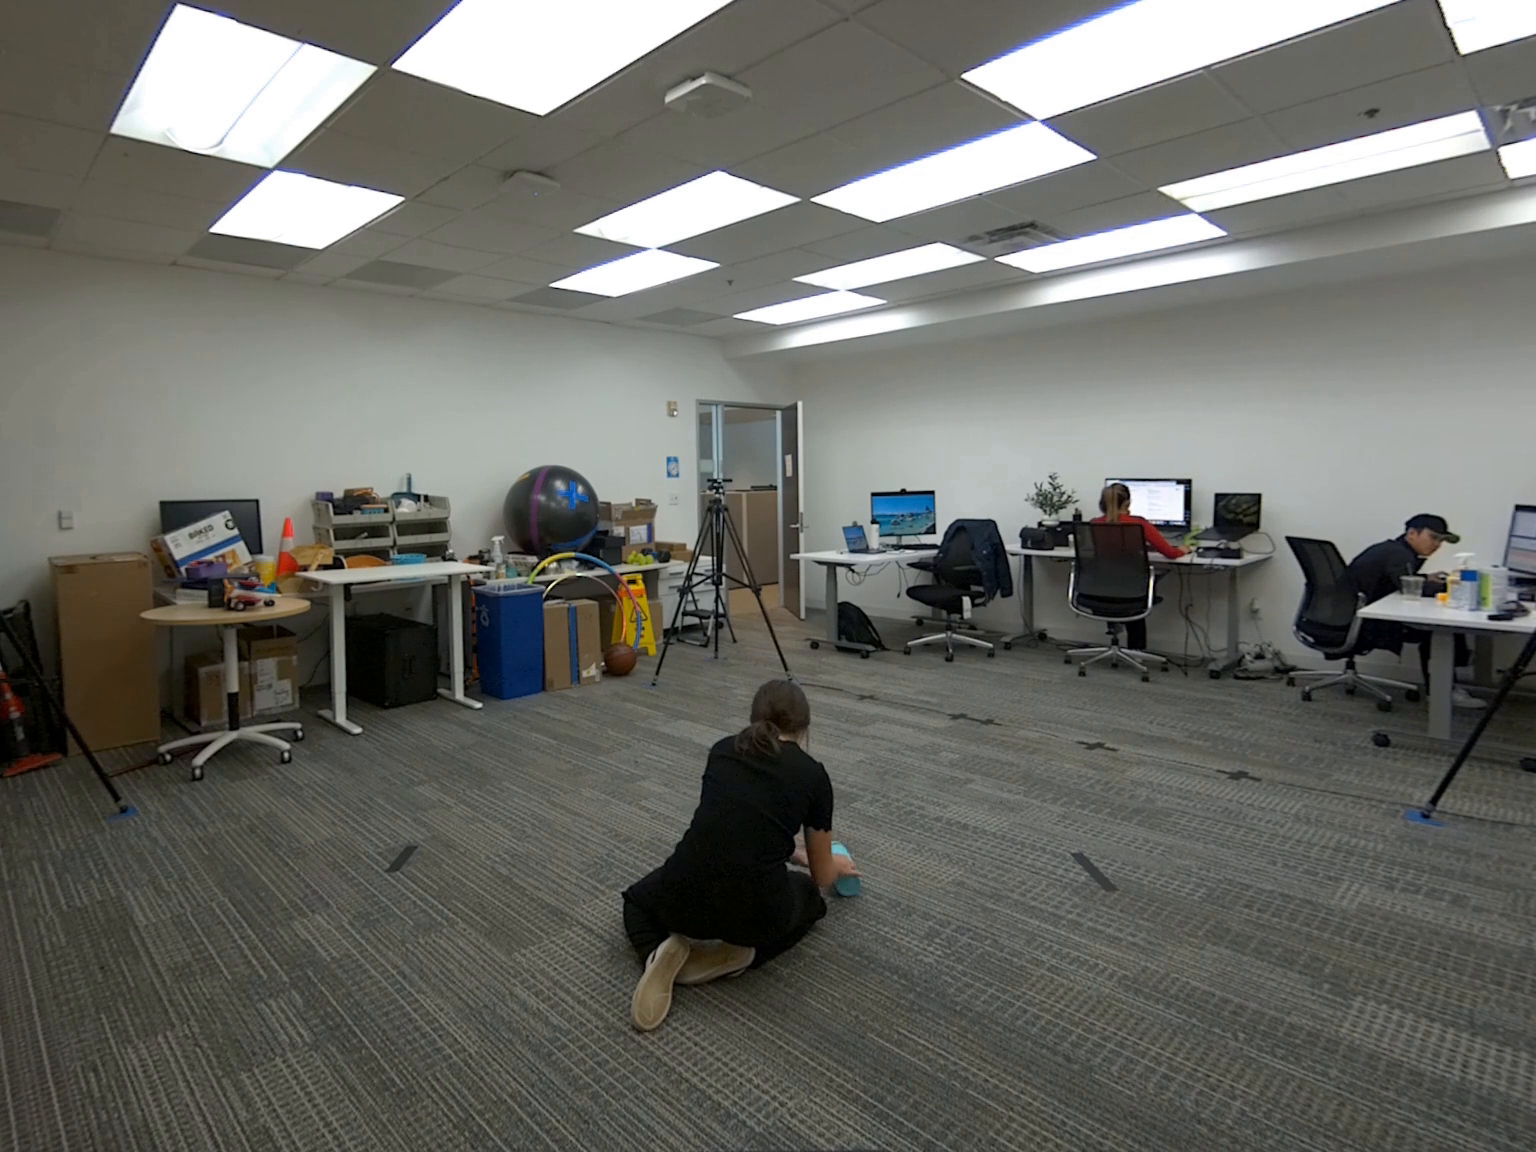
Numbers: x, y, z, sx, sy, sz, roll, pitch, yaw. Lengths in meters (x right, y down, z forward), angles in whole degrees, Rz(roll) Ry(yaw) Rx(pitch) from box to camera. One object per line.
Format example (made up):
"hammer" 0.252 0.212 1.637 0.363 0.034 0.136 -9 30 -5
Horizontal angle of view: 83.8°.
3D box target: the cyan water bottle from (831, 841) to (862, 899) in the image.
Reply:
"cyan water bottle" 0.256 1.010 2.978 0.092 0.092 0.286 -1 7 -6
